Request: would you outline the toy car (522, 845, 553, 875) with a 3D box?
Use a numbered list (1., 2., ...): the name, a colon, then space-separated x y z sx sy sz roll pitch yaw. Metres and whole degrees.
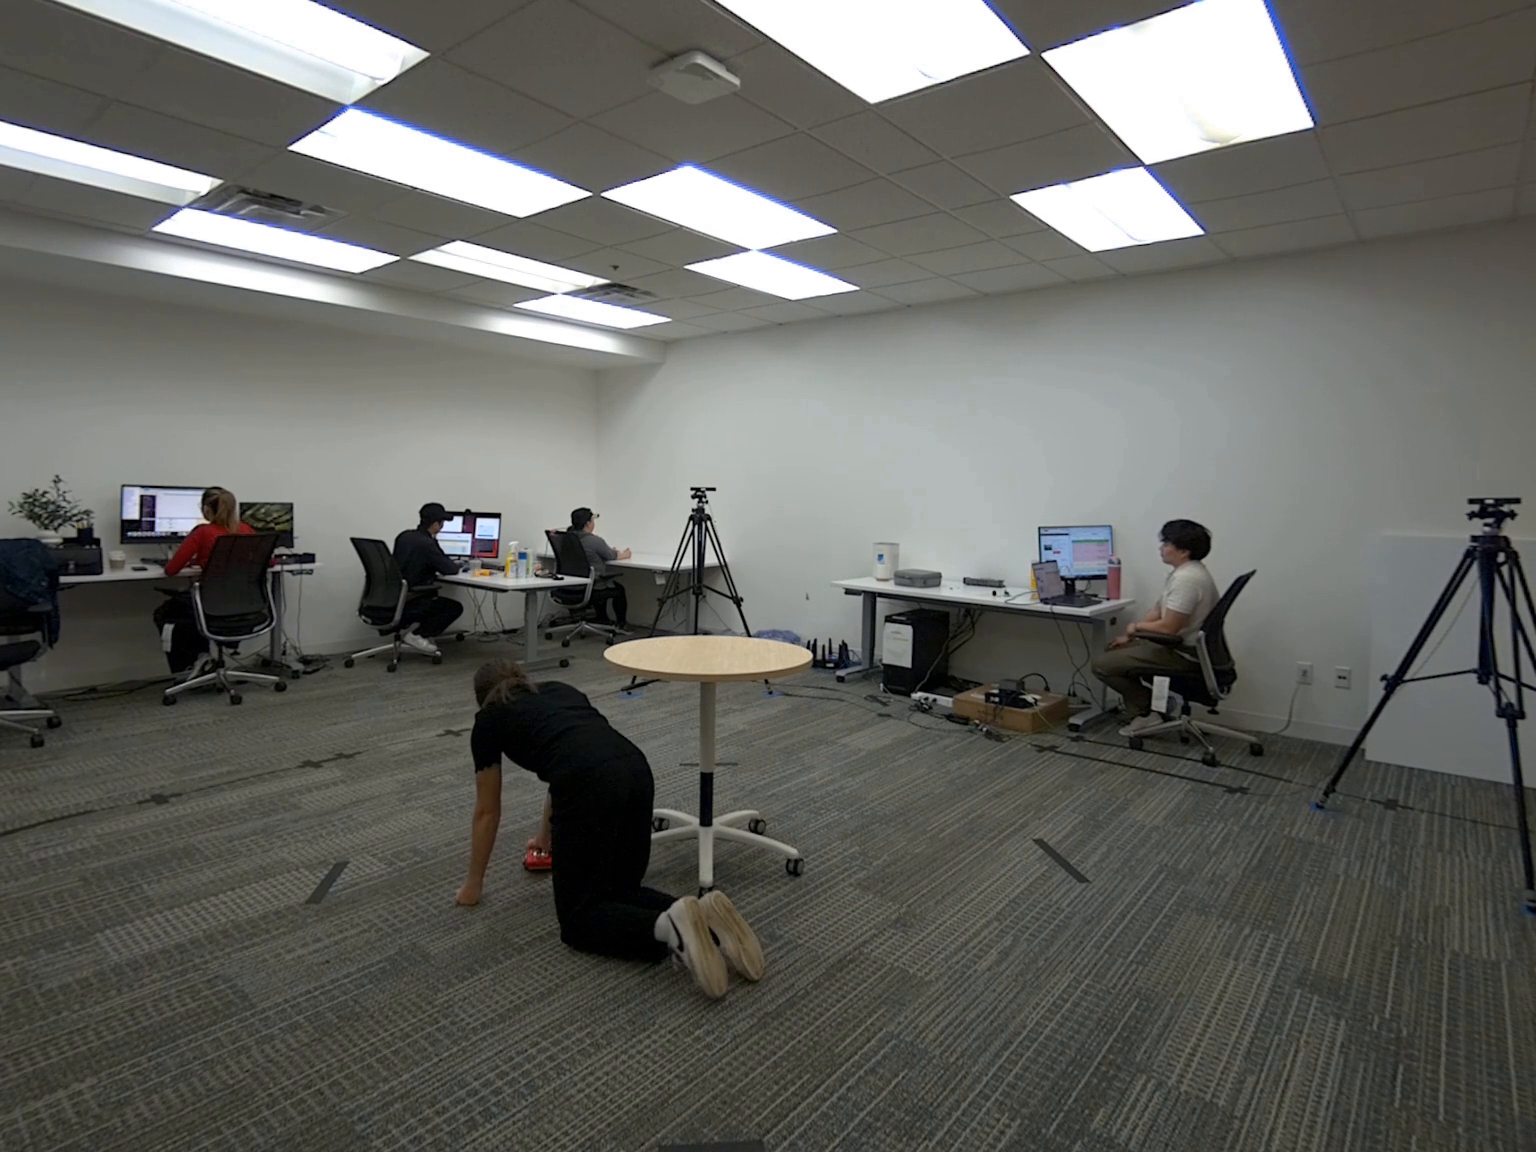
1. toy car: -0.850 1.025 3.125 0.129 0.084 0.255 1 -5 -9
